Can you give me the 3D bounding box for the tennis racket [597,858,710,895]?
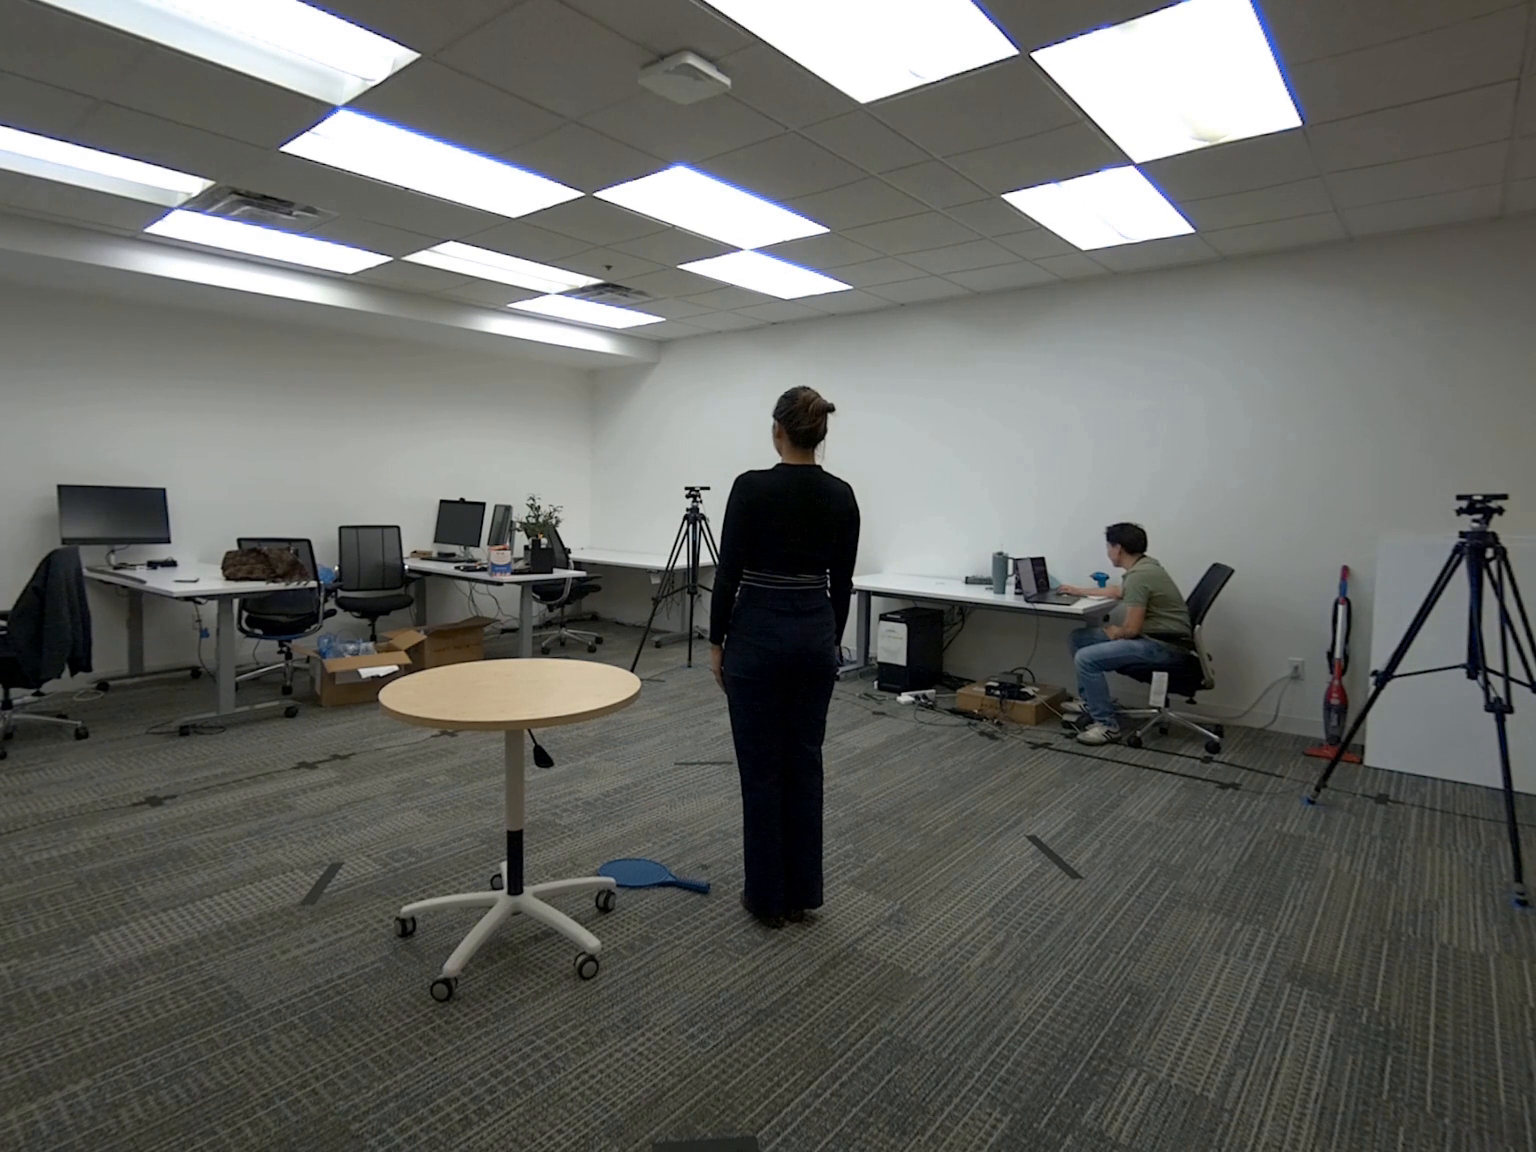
[{"bbox_3d":[-0.415,1.056,3.007,0.443,0.031,0.209,1,6,24],"label":"tennis racket"}]
